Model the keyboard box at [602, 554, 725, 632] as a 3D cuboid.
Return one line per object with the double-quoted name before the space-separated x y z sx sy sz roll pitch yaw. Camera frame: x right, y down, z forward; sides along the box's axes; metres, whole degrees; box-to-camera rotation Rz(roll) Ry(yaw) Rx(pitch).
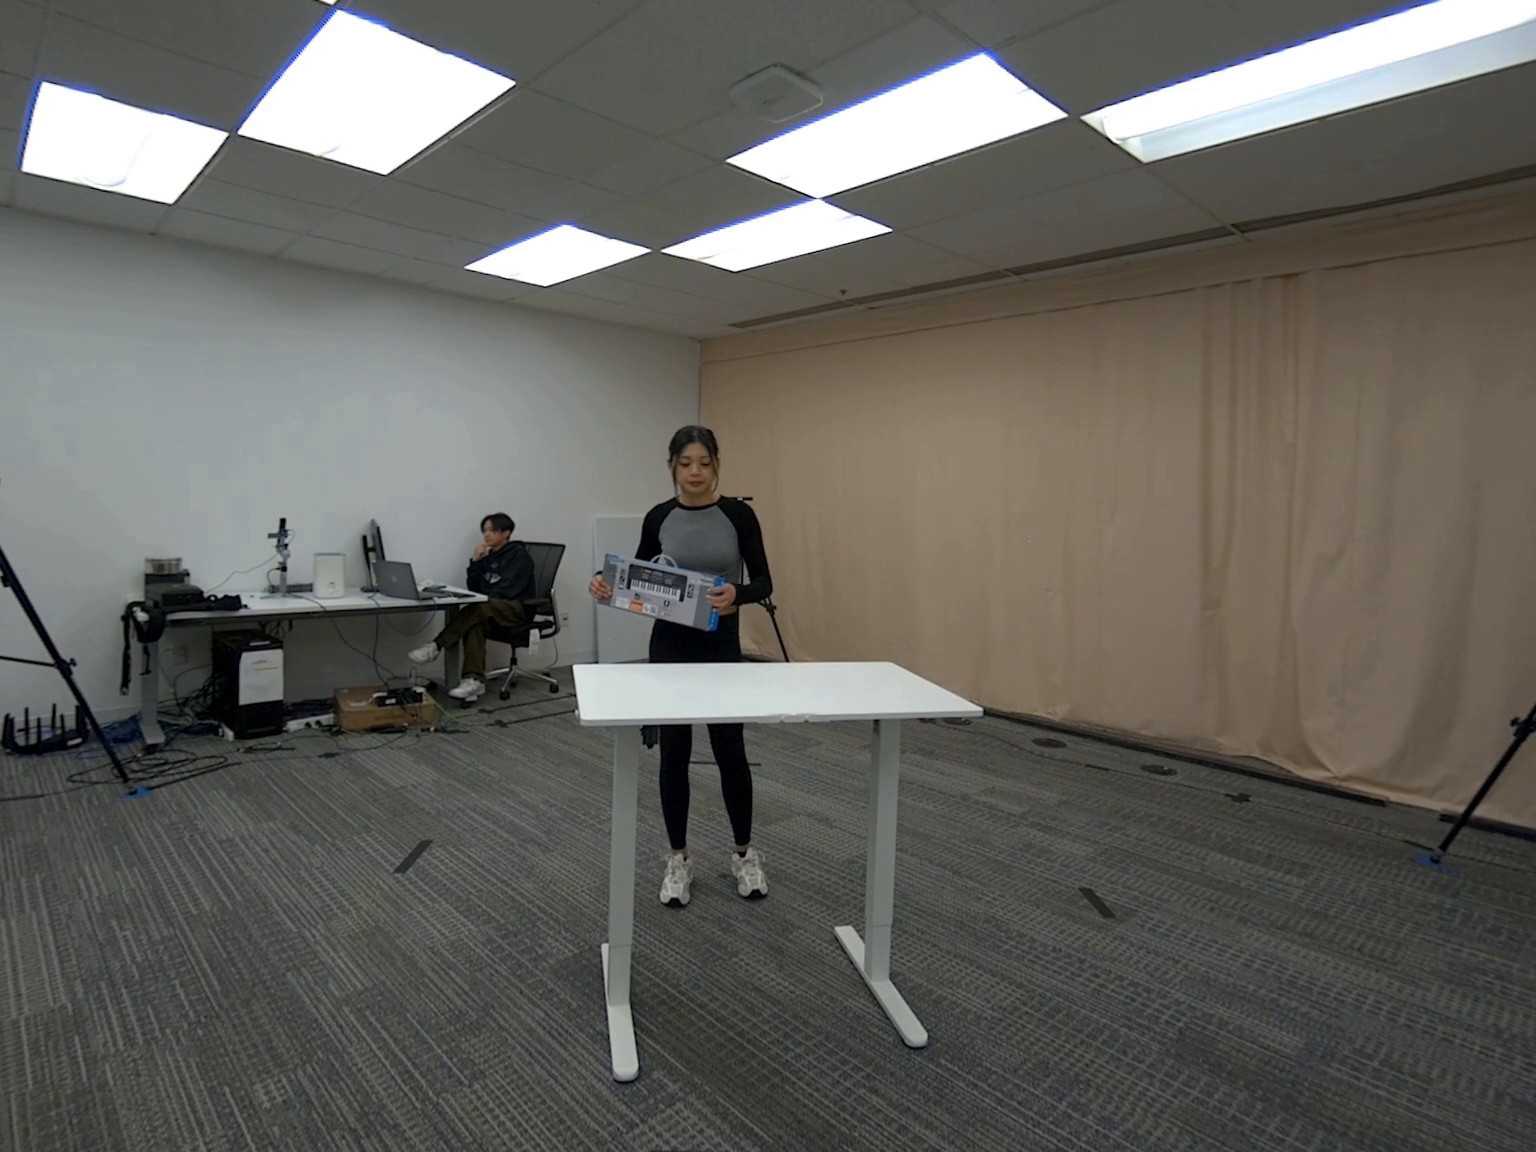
"keyboard box" -0.363 0.052 2.749 0.447 0.176 0.058 13 3 28
